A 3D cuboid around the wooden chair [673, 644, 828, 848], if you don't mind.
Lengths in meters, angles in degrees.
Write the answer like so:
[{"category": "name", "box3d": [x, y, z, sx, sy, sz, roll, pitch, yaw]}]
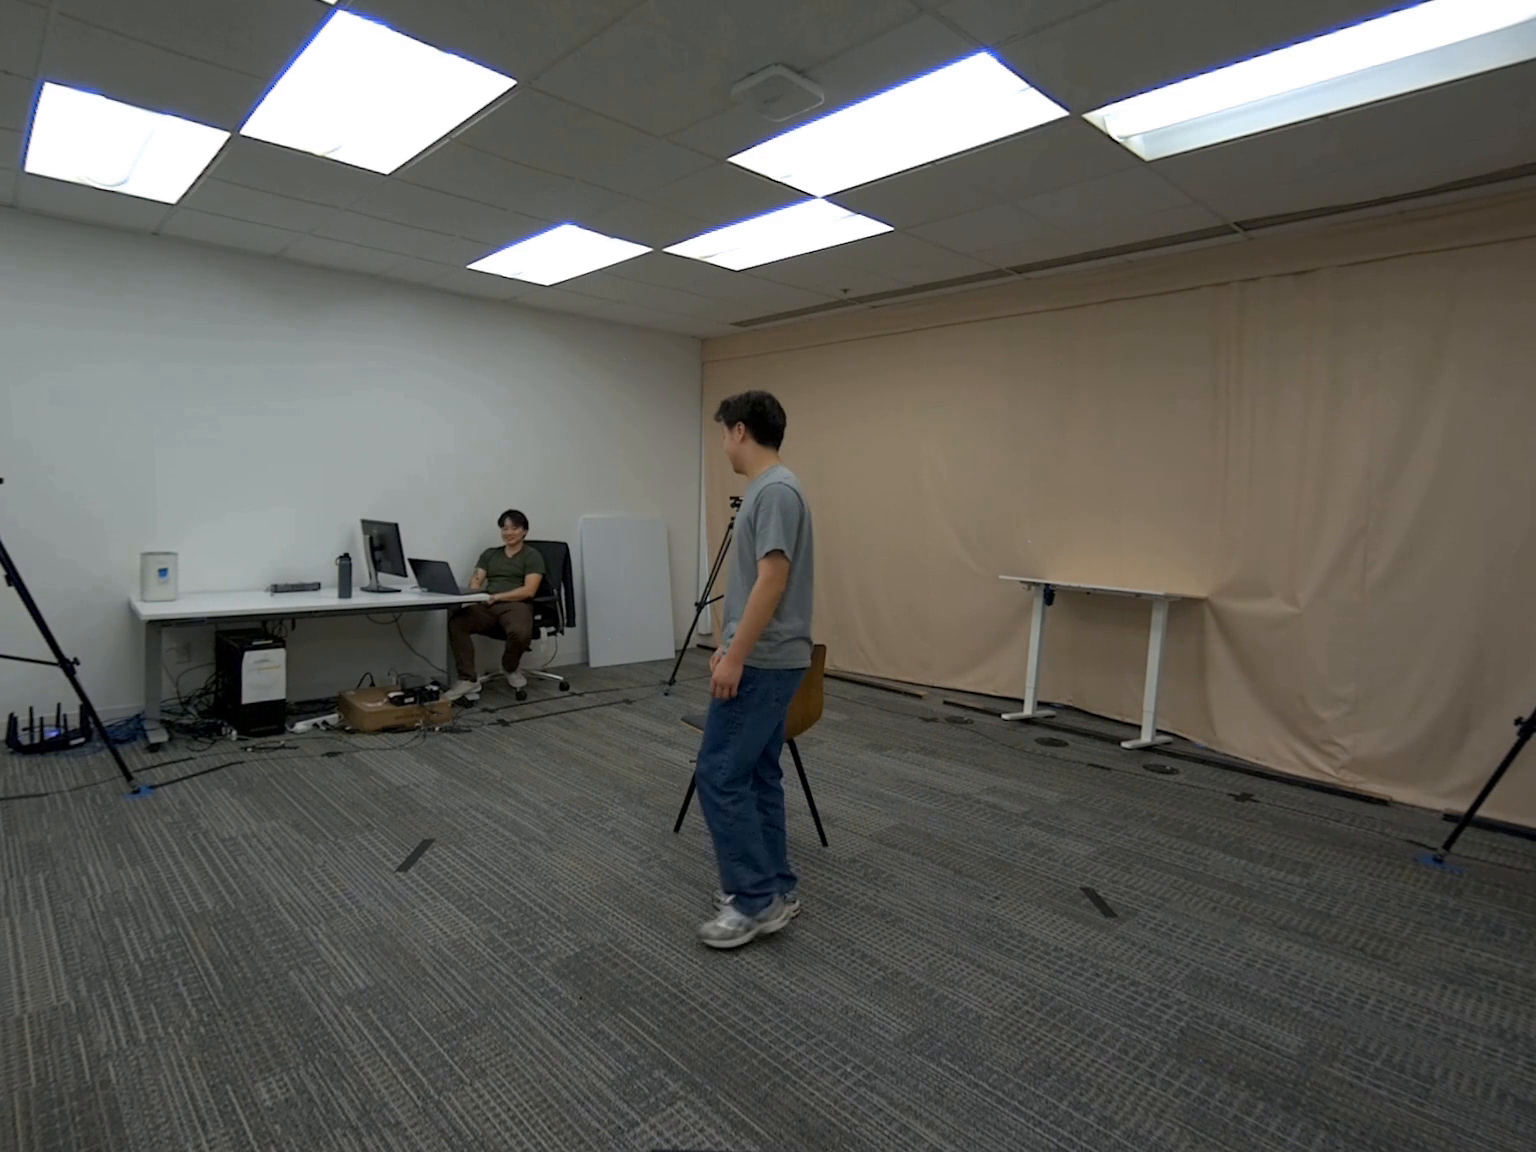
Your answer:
[{"category": "wooden chair", "box3d": [-0.072, 0.652, 3.419, 0.467, 0.873, 0.537, -1, 8, -37]}]
